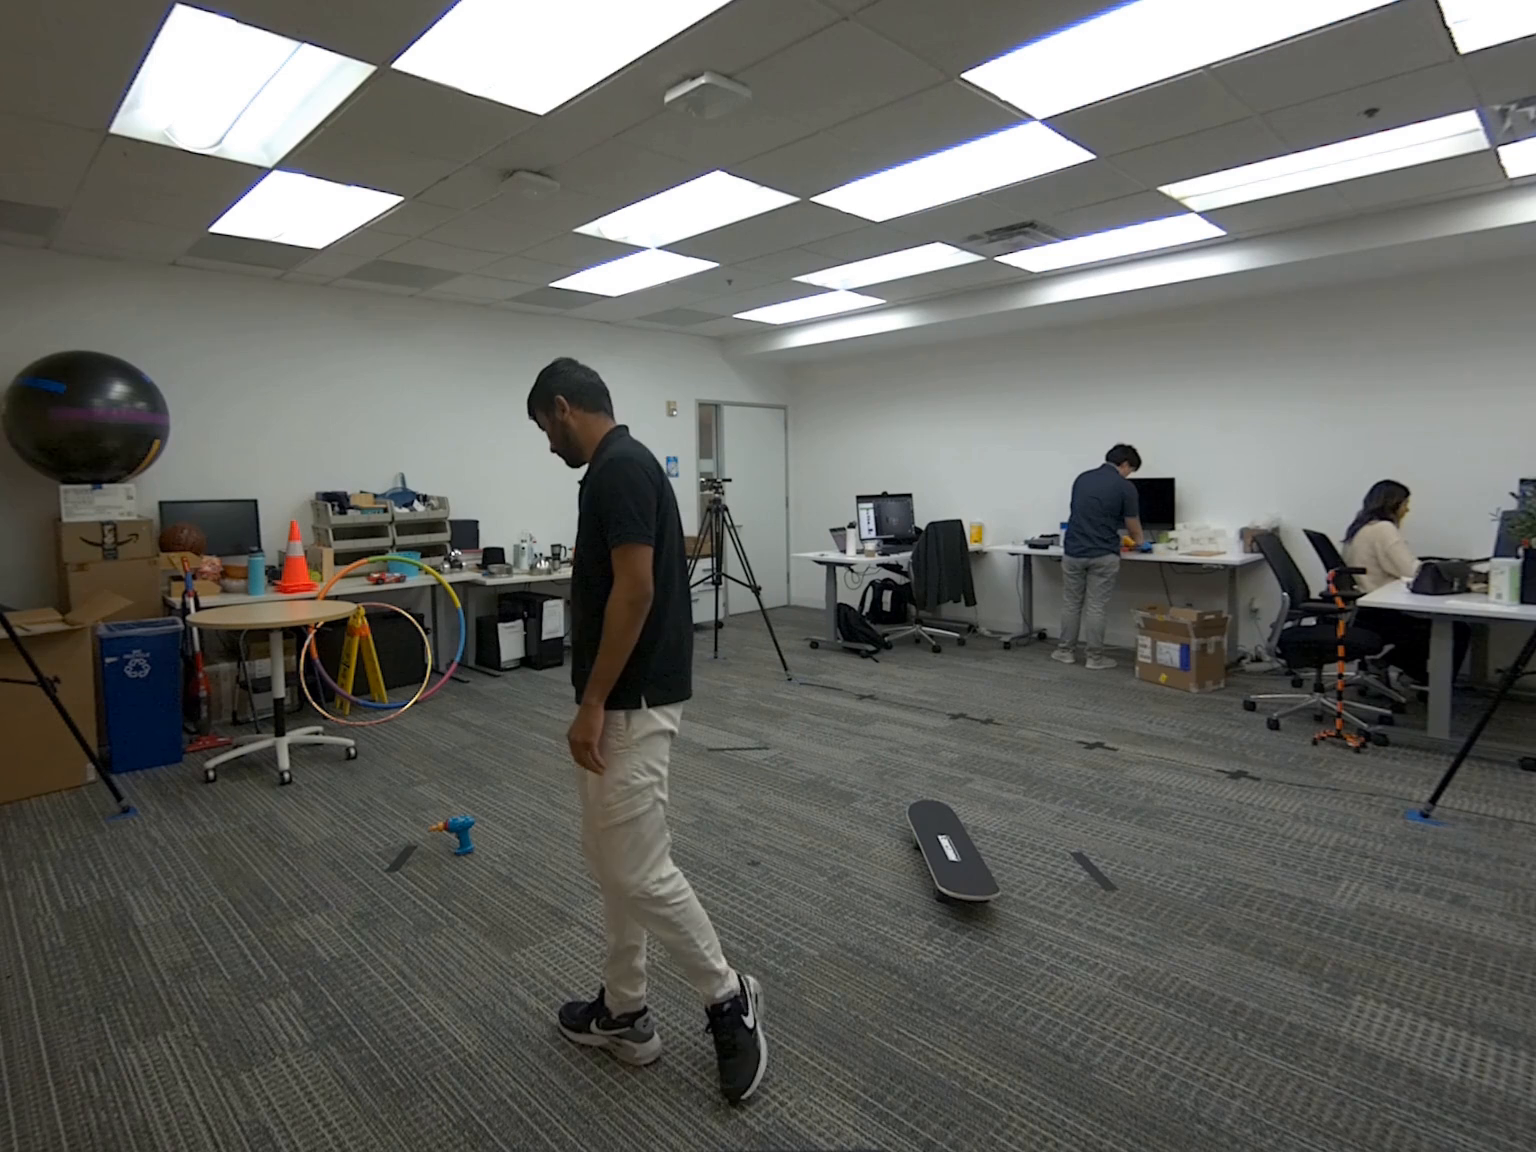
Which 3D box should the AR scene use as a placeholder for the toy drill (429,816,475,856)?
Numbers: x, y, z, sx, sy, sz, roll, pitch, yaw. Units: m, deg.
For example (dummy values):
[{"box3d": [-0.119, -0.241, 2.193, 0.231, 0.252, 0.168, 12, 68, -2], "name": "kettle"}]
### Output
[{"box3d": [-1.197, 0.986, 3.236, 0.167, 0.145, 0.062, -7, 4, -15], "name": "toy drill"}]
